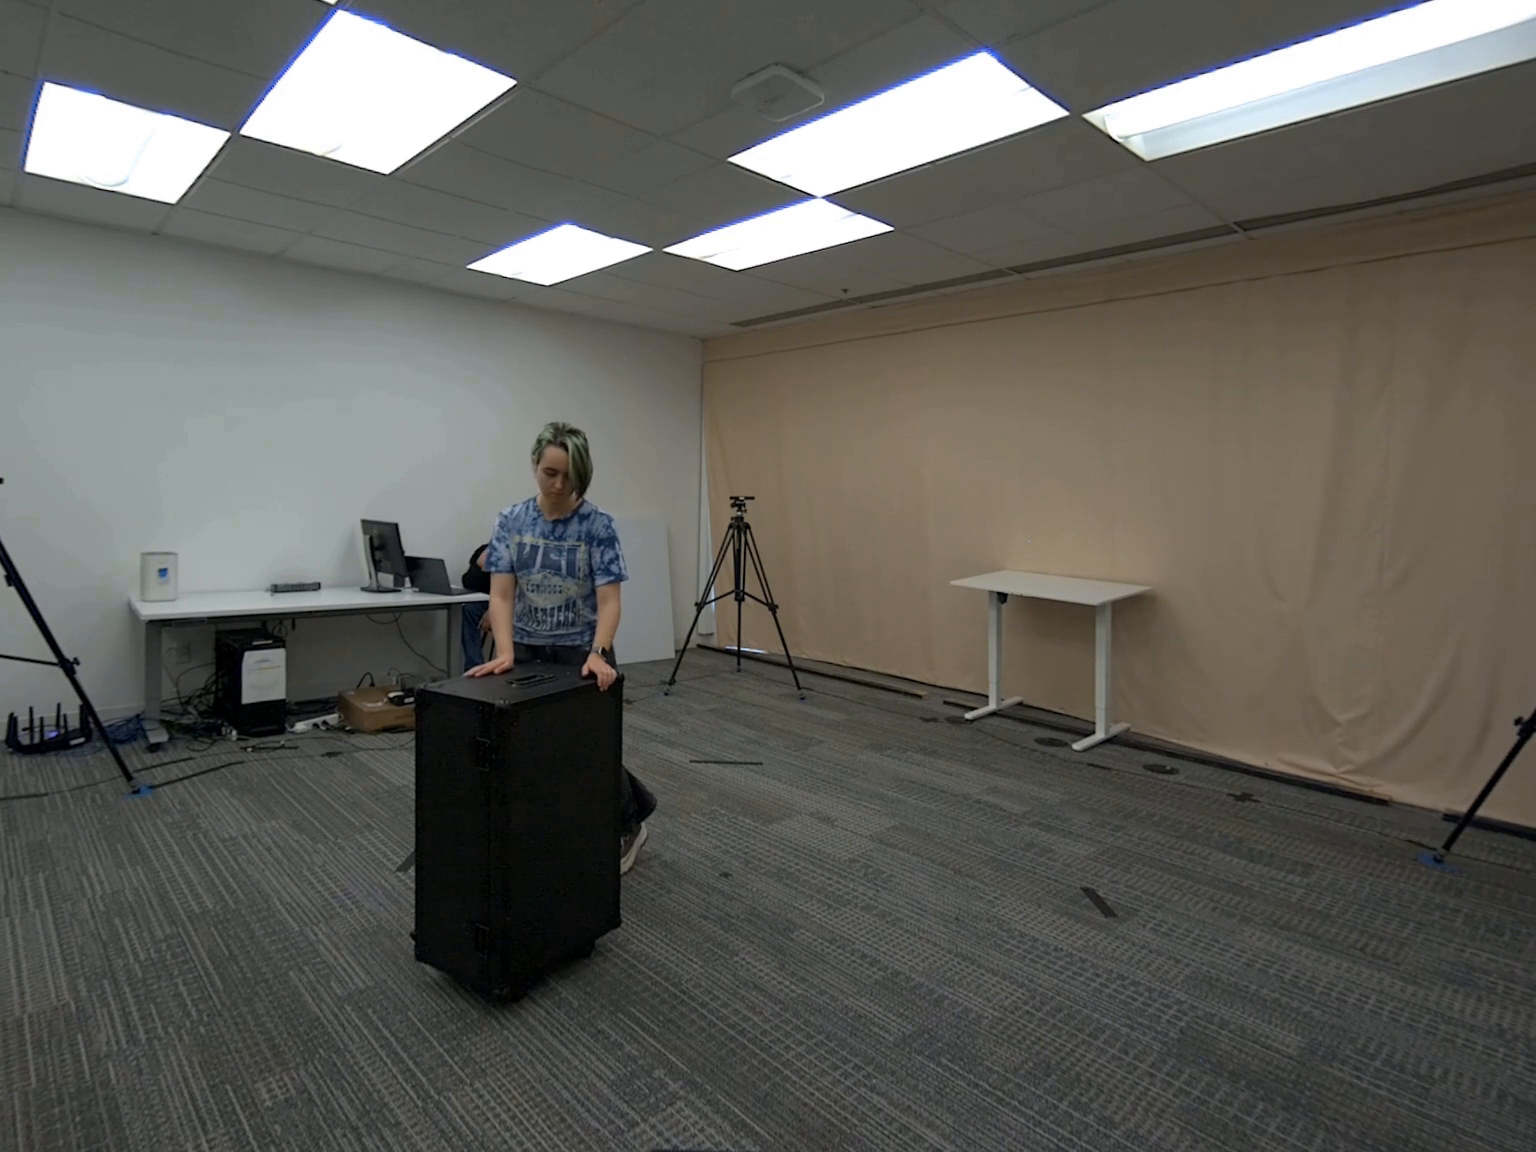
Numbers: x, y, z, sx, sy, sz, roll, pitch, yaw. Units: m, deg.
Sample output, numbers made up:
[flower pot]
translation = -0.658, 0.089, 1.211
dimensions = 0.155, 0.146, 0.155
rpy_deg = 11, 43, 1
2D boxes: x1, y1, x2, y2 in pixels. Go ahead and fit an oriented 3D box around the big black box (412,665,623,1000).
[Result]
[big black box]
translation = -0.734, 0.727, 2.453
dimensions = 0.405, 0.859, 0.511
rpy_deg = 3, 4, 32
